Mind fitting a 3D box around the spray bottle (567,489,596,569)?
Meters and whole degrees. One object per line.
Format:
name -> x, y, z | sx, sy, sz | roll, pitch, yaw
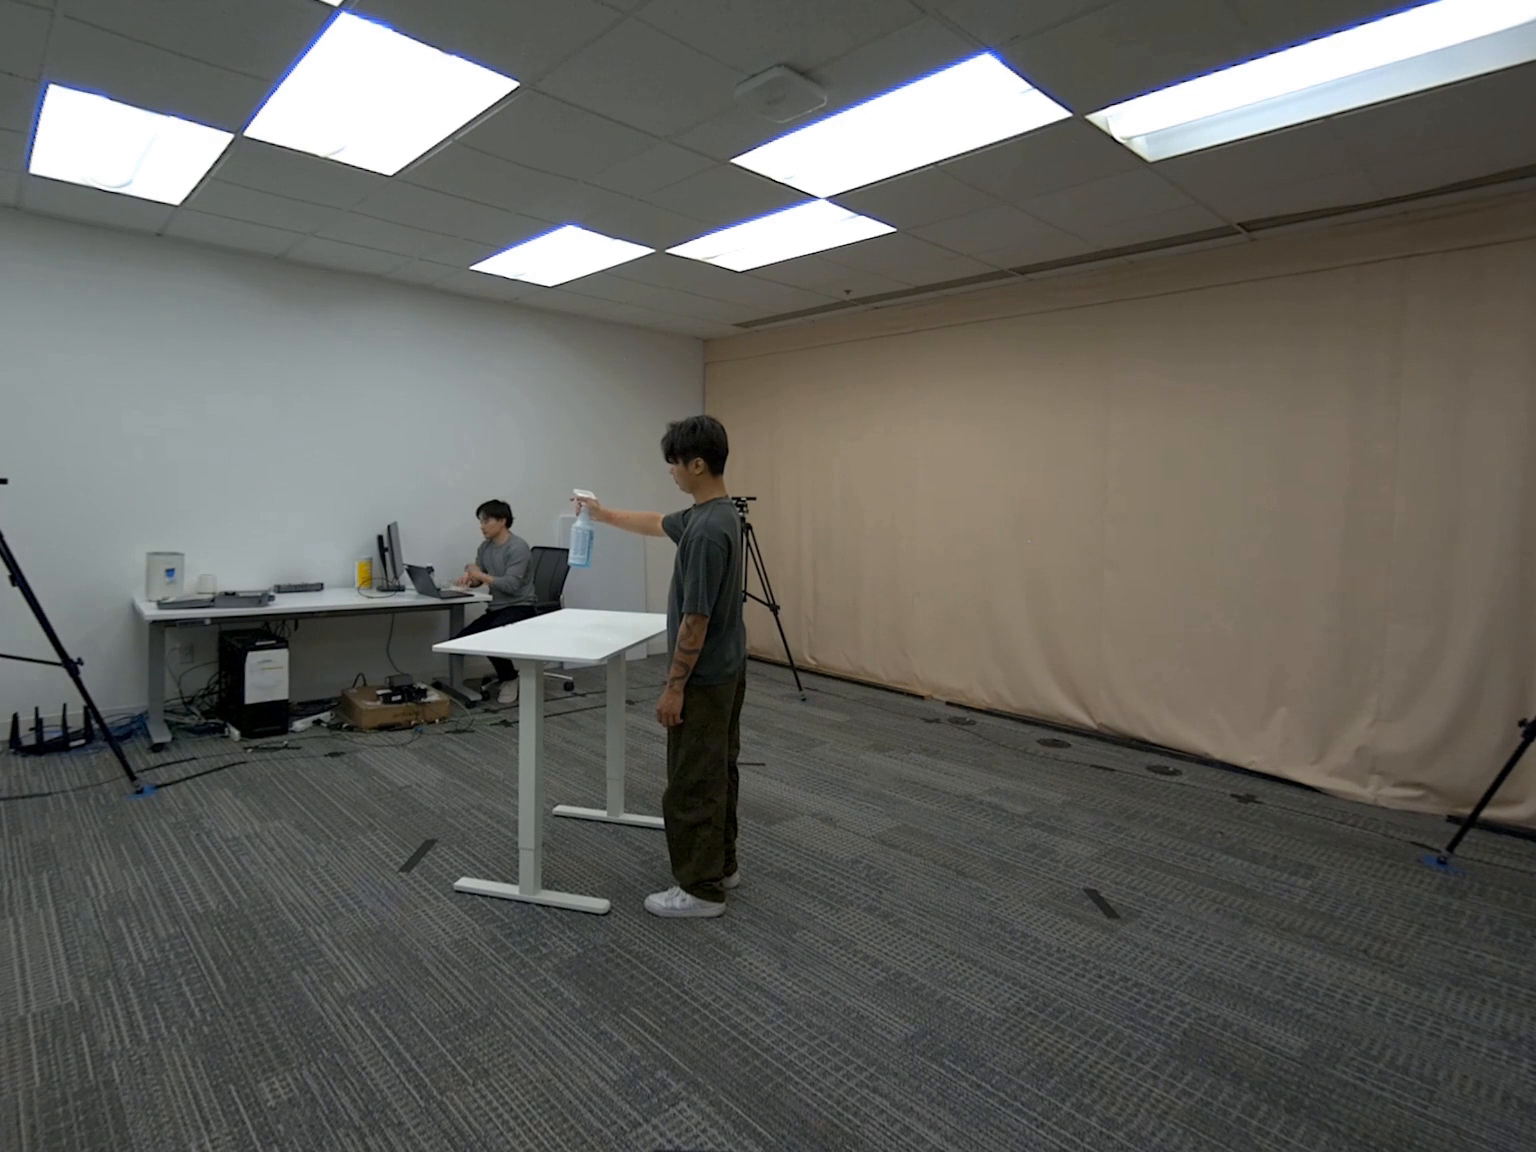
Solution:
spray bottle -> -0.719, -0.179, 3.260 | 0.092, 0.297, 0.085 | 9, 3, 31
